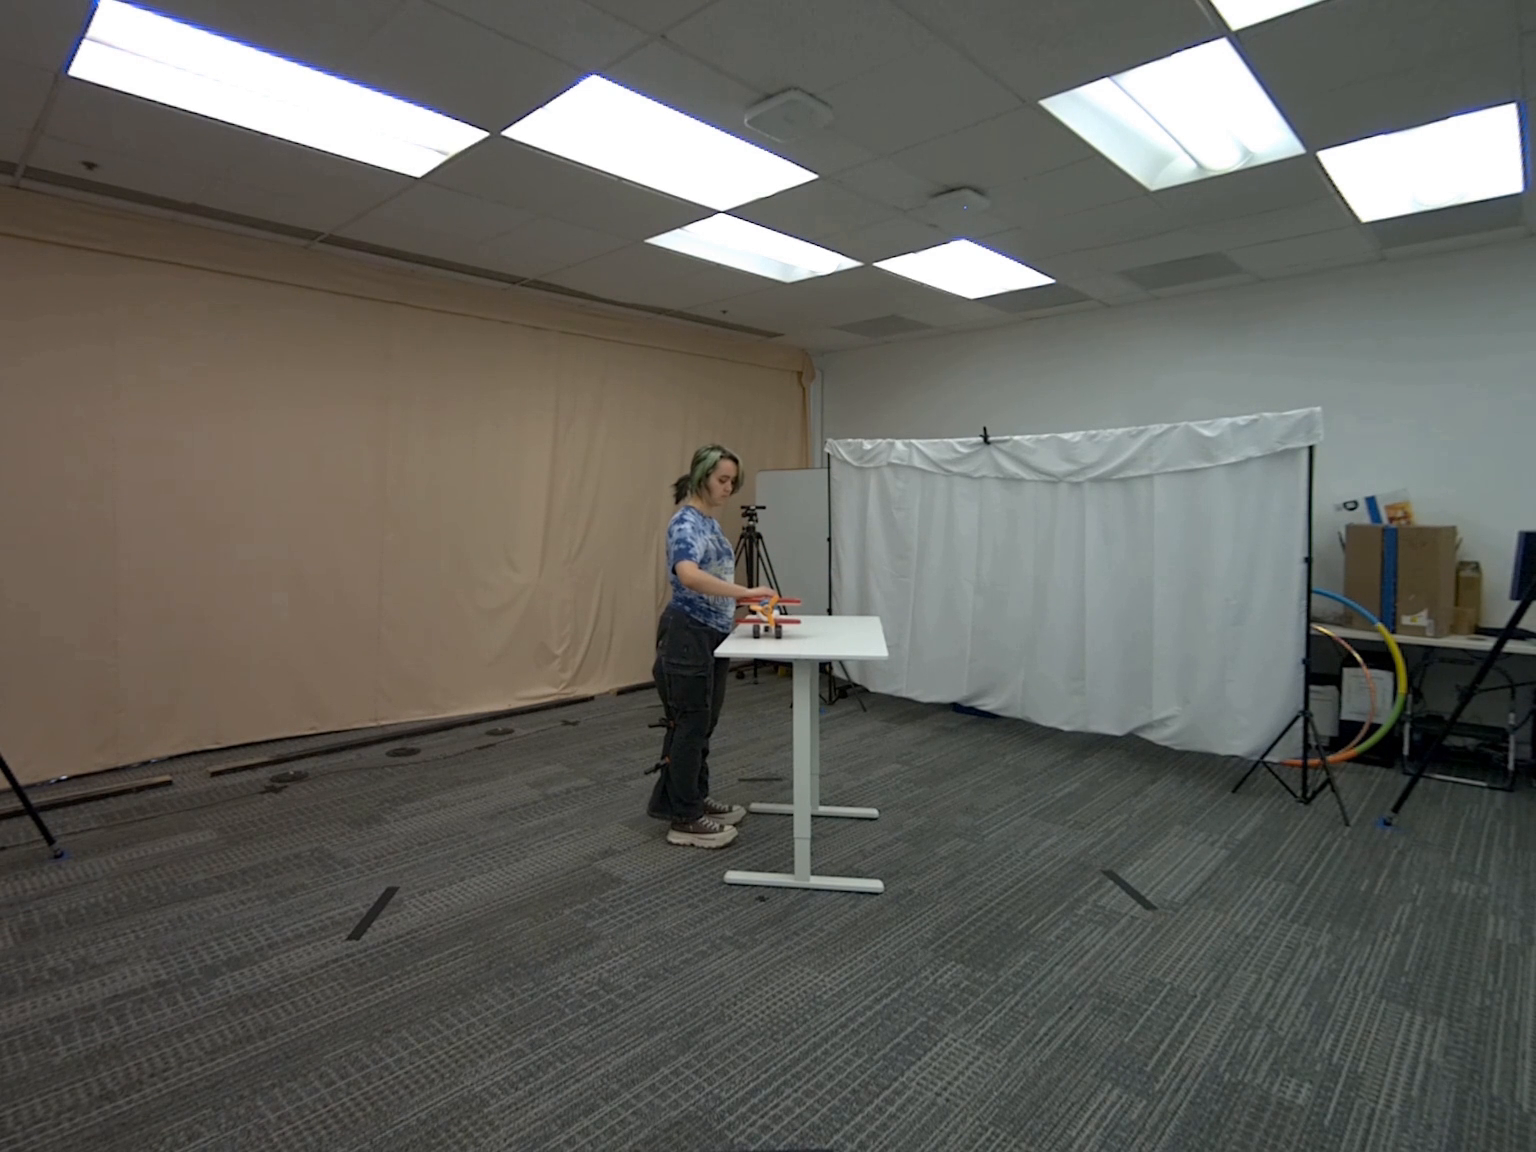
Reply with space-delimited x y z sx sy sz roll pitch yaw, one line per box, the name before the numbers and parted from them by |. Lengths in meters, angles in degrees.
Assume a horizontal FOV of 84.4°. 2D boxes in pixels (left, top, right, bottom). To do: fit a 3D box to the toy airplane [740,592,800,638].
toy airplane | -0.011 0.159 3.330 0.246 0.156 0.265 -3 5 -21
